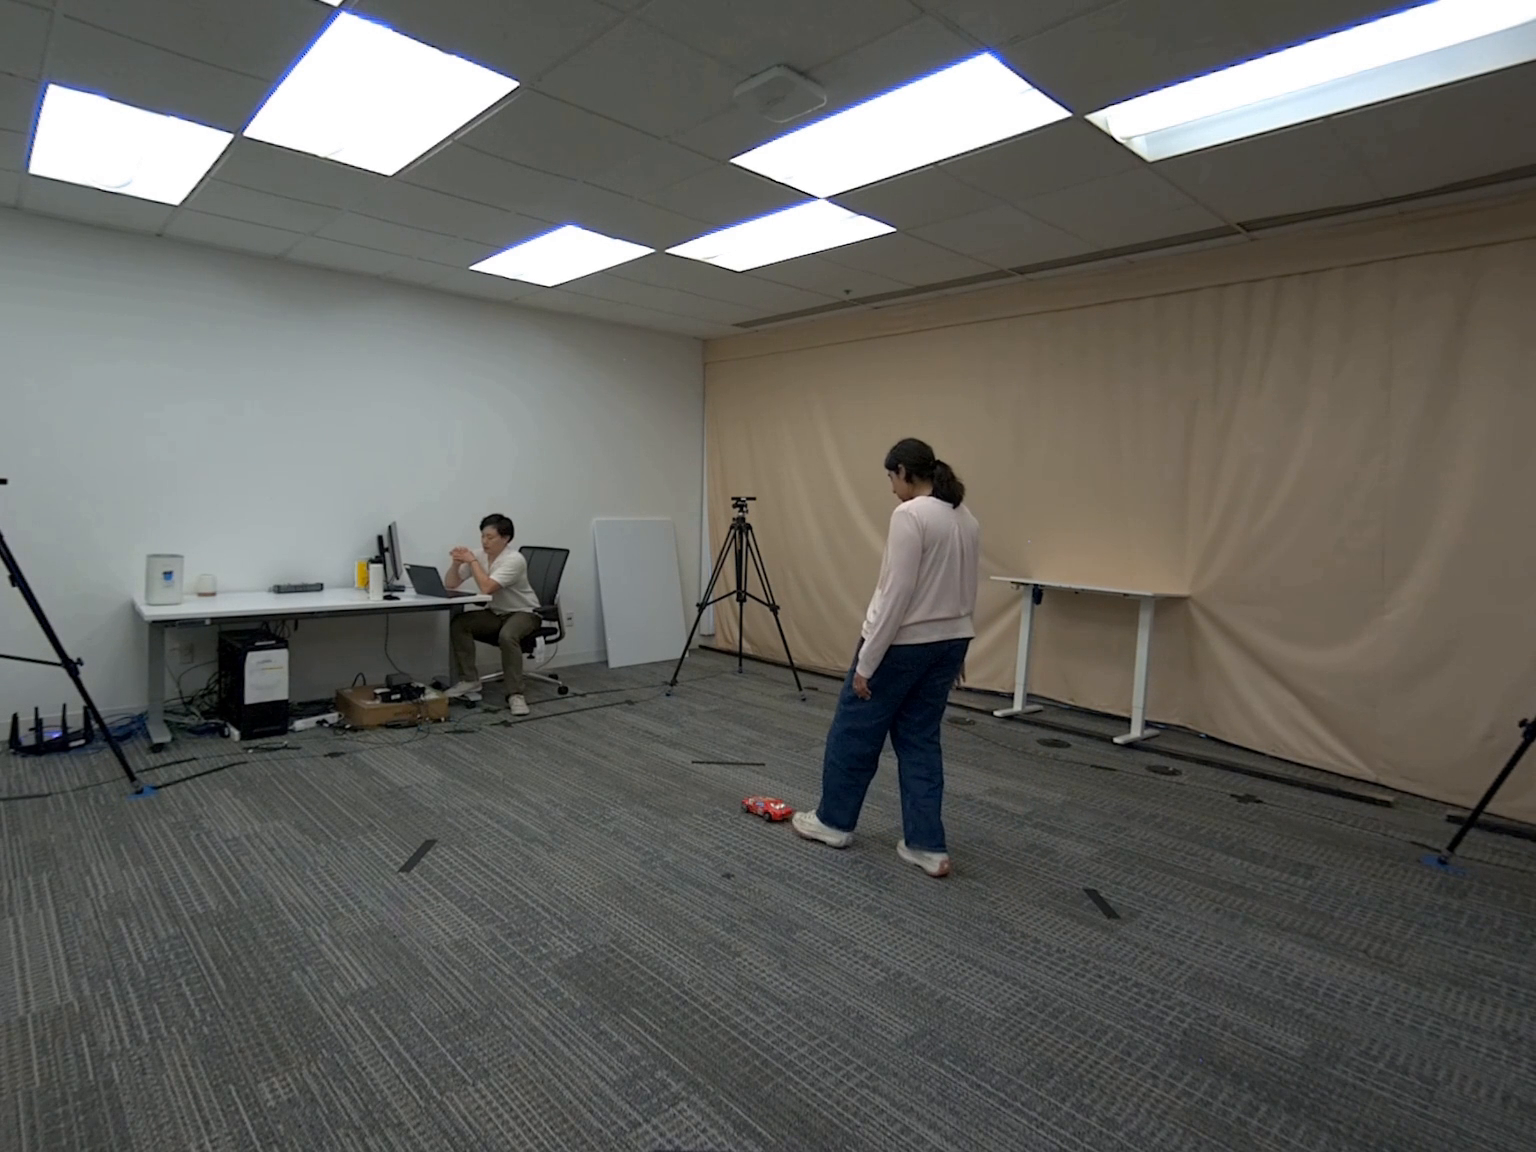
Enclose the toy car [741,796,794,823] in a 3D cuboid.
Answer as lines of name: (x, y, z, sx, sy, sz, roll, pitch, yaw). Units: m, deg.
toy car: (-0.006, 1.023, 3.712, 0.127, 0.083, 0.259, -1, -5, -43)
